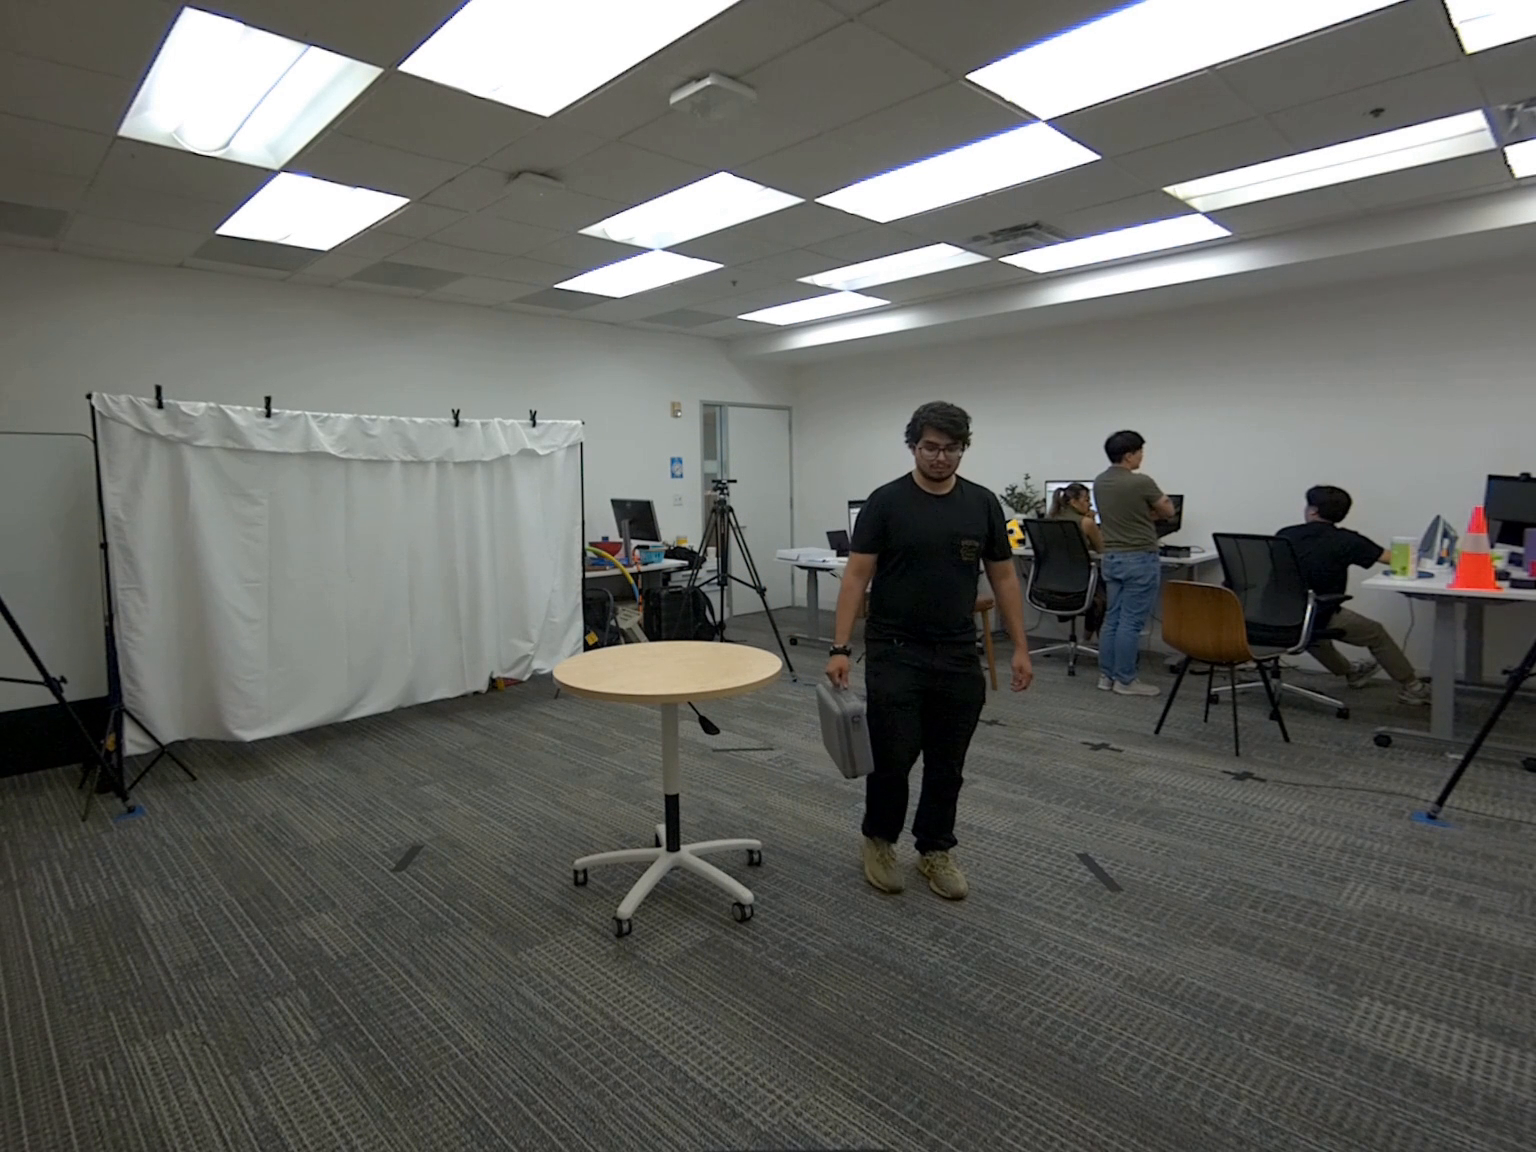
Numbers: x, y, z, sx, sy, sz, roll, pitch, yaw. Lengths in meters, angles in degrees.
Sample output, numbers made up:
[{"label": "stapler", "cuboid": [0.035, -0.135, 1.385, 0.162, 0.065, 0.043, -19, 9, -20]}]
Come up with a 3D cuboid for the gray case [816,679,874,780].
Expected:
[{"label": "gray case", "cuboid": [0.241, 0.487, 2.800, 0.104, 0.256, 0.262, -9, 16, -6]}]
